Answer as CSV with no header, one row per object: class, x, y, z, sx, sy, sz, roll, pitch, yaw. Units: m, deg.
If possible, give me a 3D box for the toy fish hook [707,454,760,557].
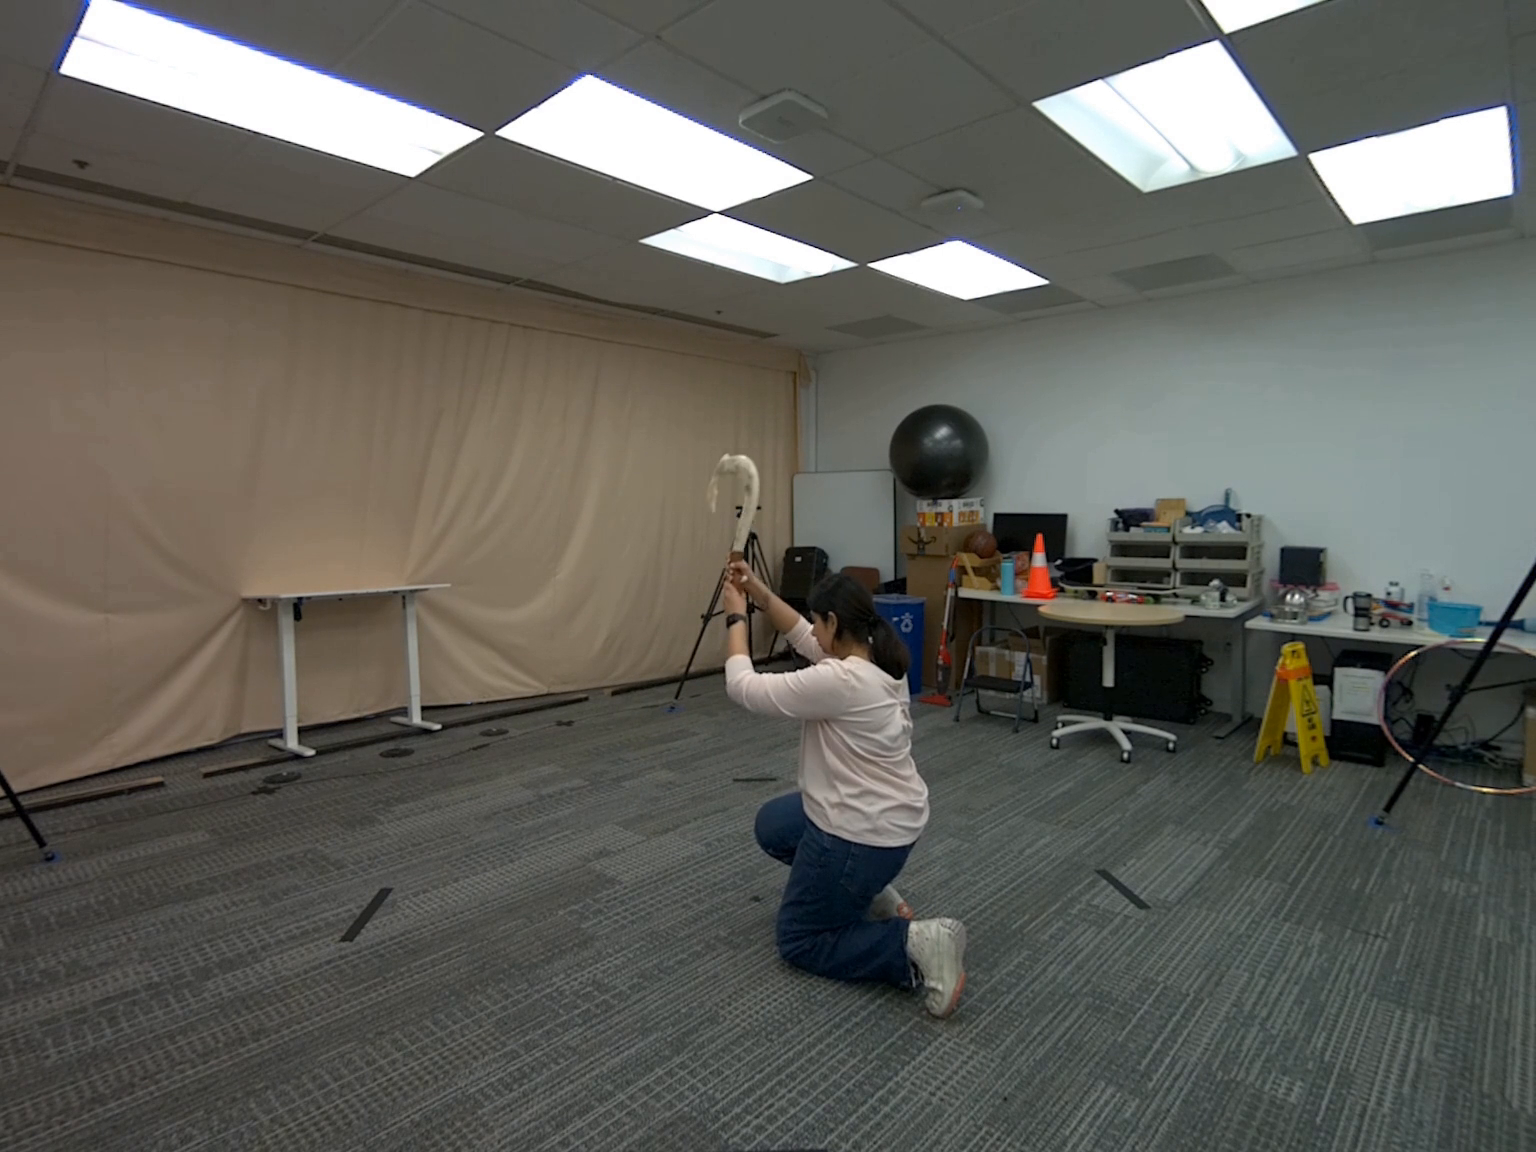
toy fish hook,-0.122,-0.125,2.755,0.047,0.506,0.232,1,4,-43
